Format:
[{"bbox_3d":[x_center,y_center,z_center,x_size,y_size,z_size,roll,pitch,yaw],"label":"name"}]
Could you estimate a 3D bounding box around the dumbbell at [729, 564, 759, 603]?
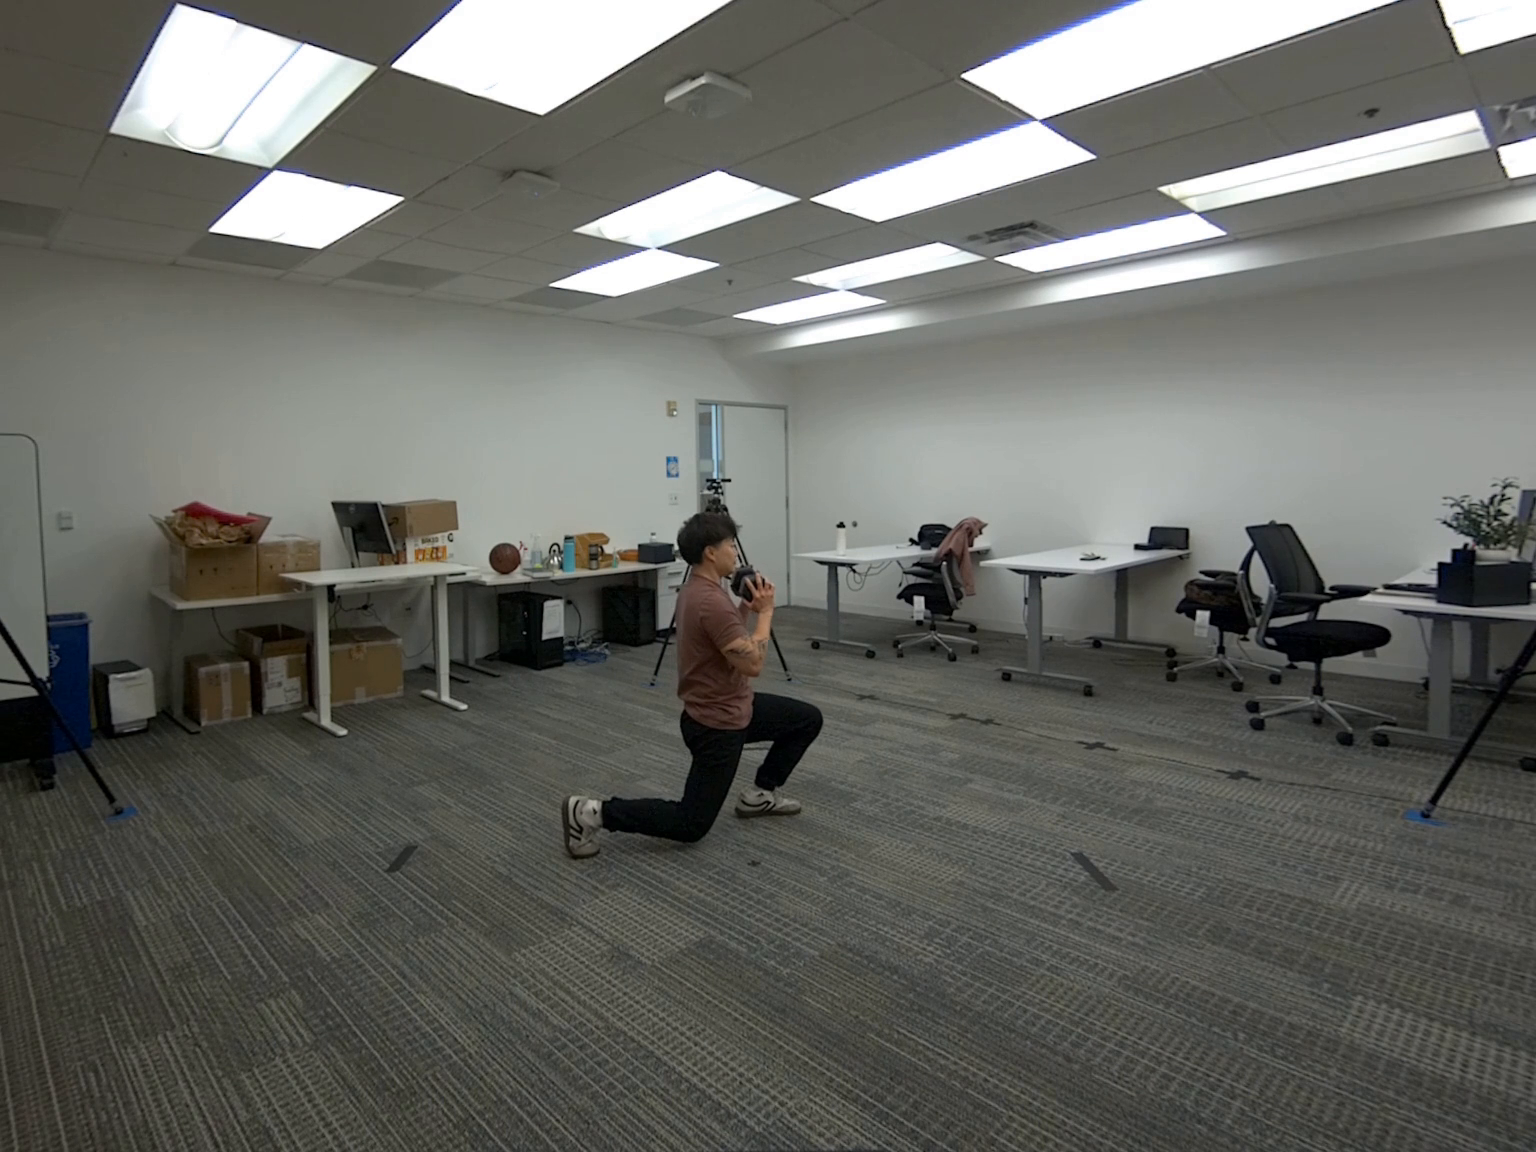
[{"bbox_3d":[-0.088,0.040,3.443,0.122,0.107,0.300,-14,16,-8],"label":"dumbbell"}]
